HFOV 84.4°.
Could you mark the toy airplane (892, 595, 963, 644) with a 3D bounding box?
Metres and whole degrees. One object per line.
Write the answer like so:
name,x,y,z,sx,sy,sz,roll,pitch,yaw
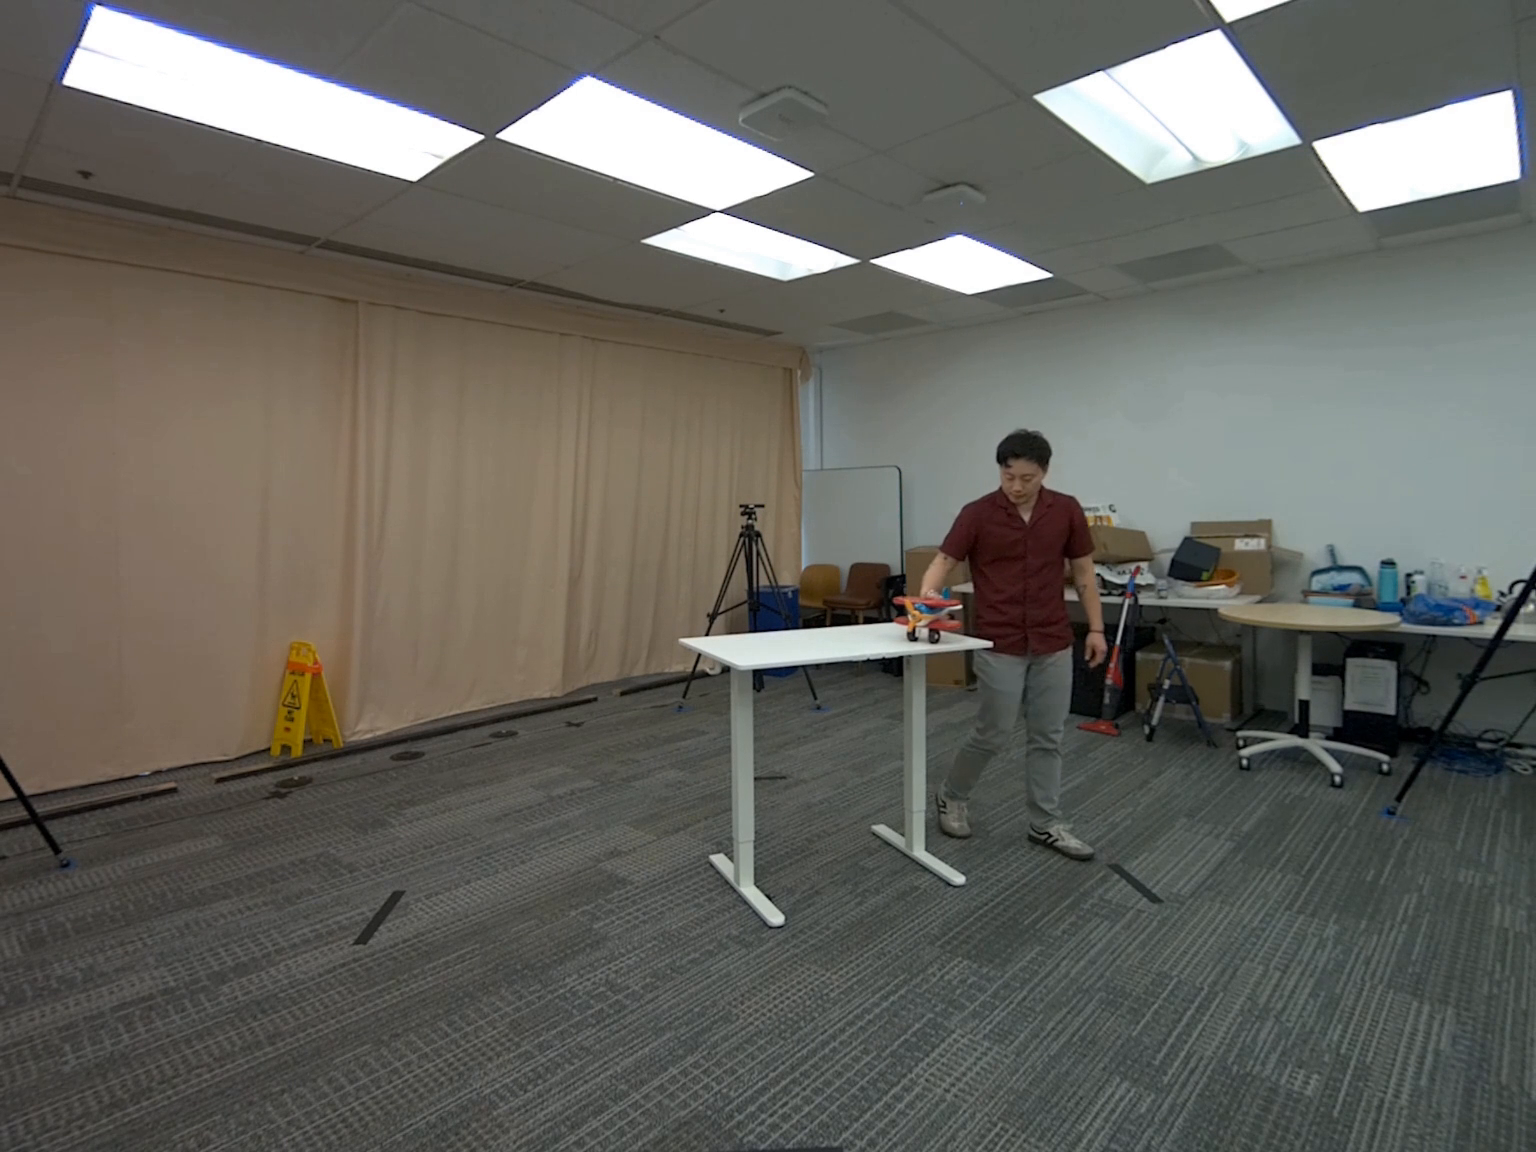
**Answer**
toy airplane,0.600,0.138,3.119,0.255,0.154,0.259,-8,20,15
